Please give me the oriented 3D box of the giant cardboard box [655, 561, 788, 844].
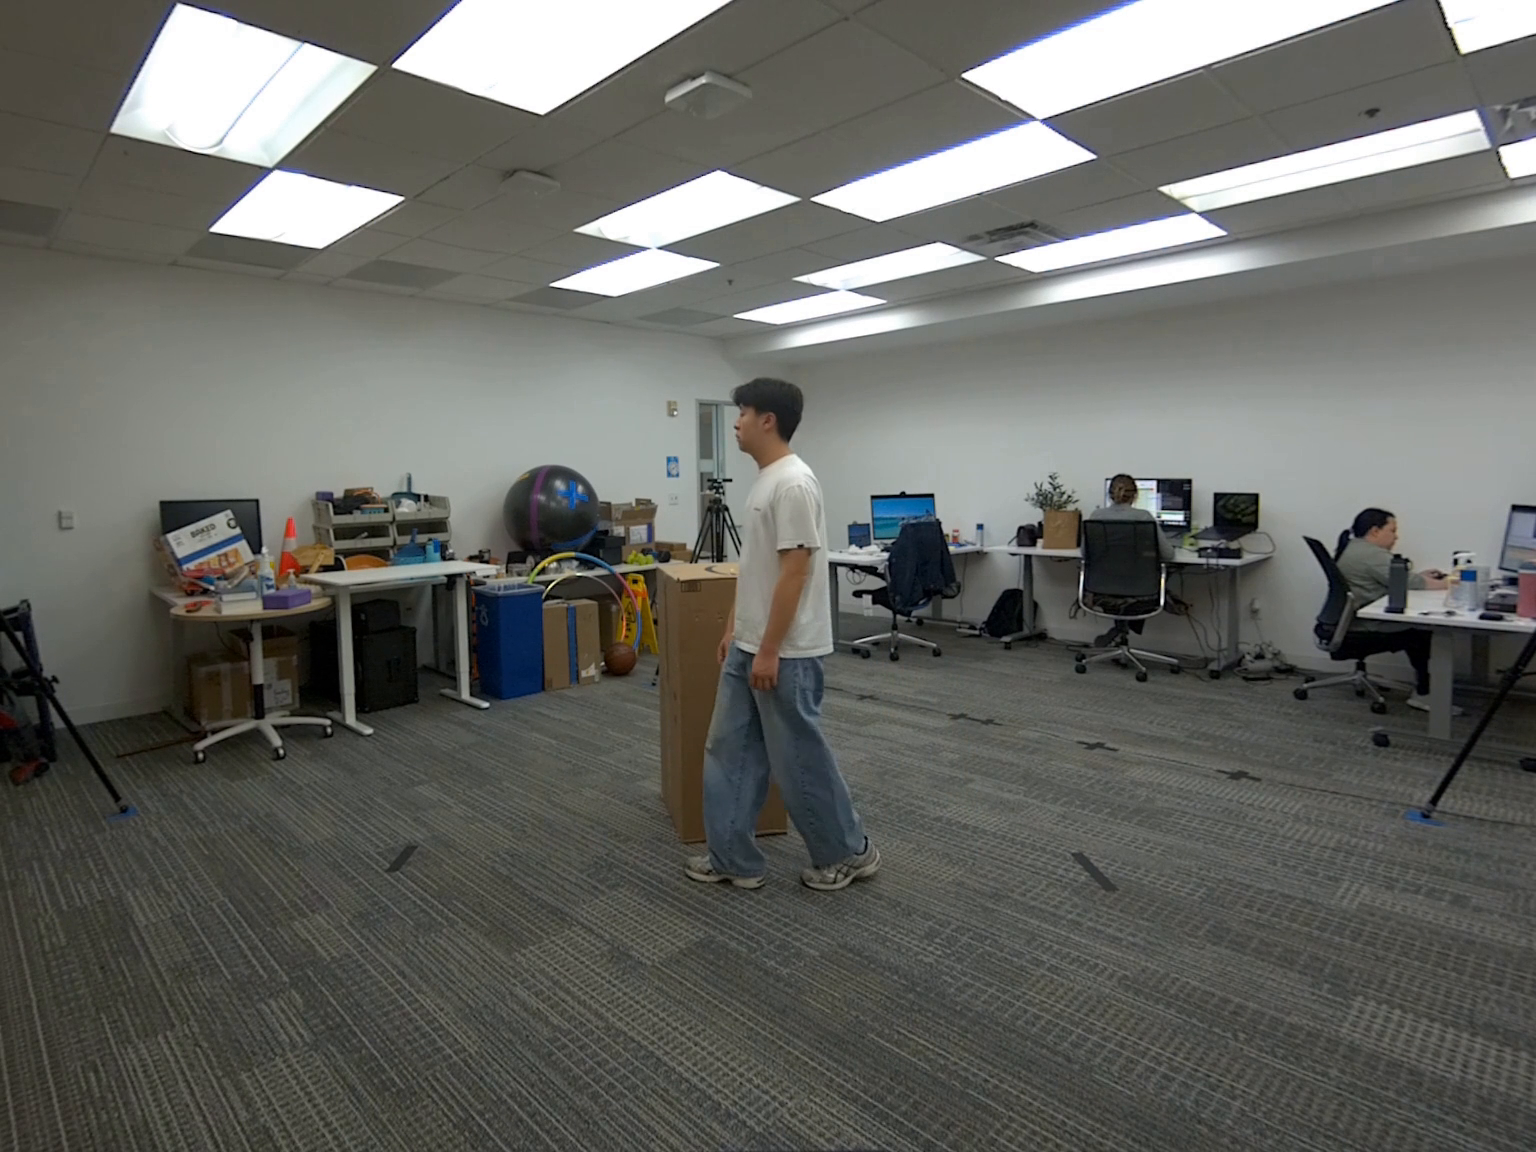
[{"bbox_3d":[-0.209,0.486,3.569,0.420,1.023,0.587,-2,4,-15],"label":"giant cardboard box"}]
